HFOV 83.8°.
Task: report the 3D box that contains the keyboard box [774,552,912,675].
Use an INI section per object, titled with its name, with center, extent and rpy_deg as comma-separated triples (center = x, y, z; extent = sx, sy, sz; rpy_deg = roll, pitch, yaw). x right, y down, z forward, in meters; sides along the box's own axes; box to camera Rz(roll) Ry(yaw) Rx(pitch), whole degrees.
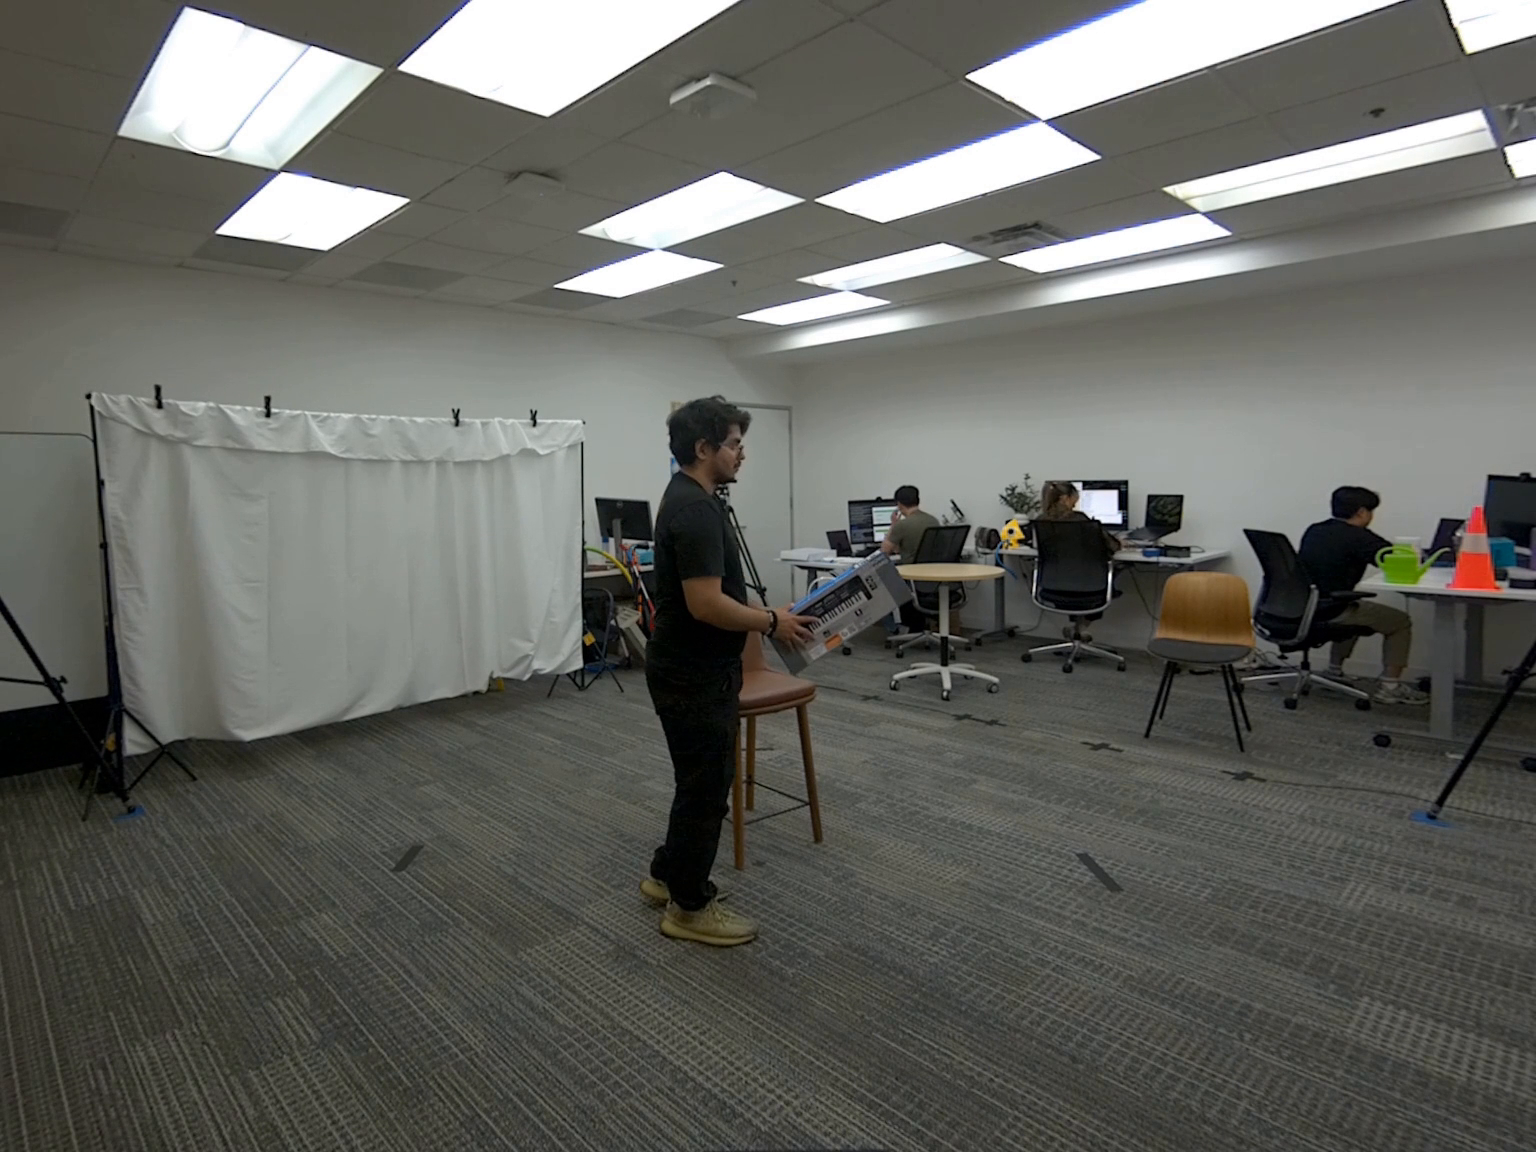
[keyboard box]
center = 0.211, 0.112, 2.594
extent = 0.437, 0.174, 0.059
rpy_deg = -33, 7, 0
